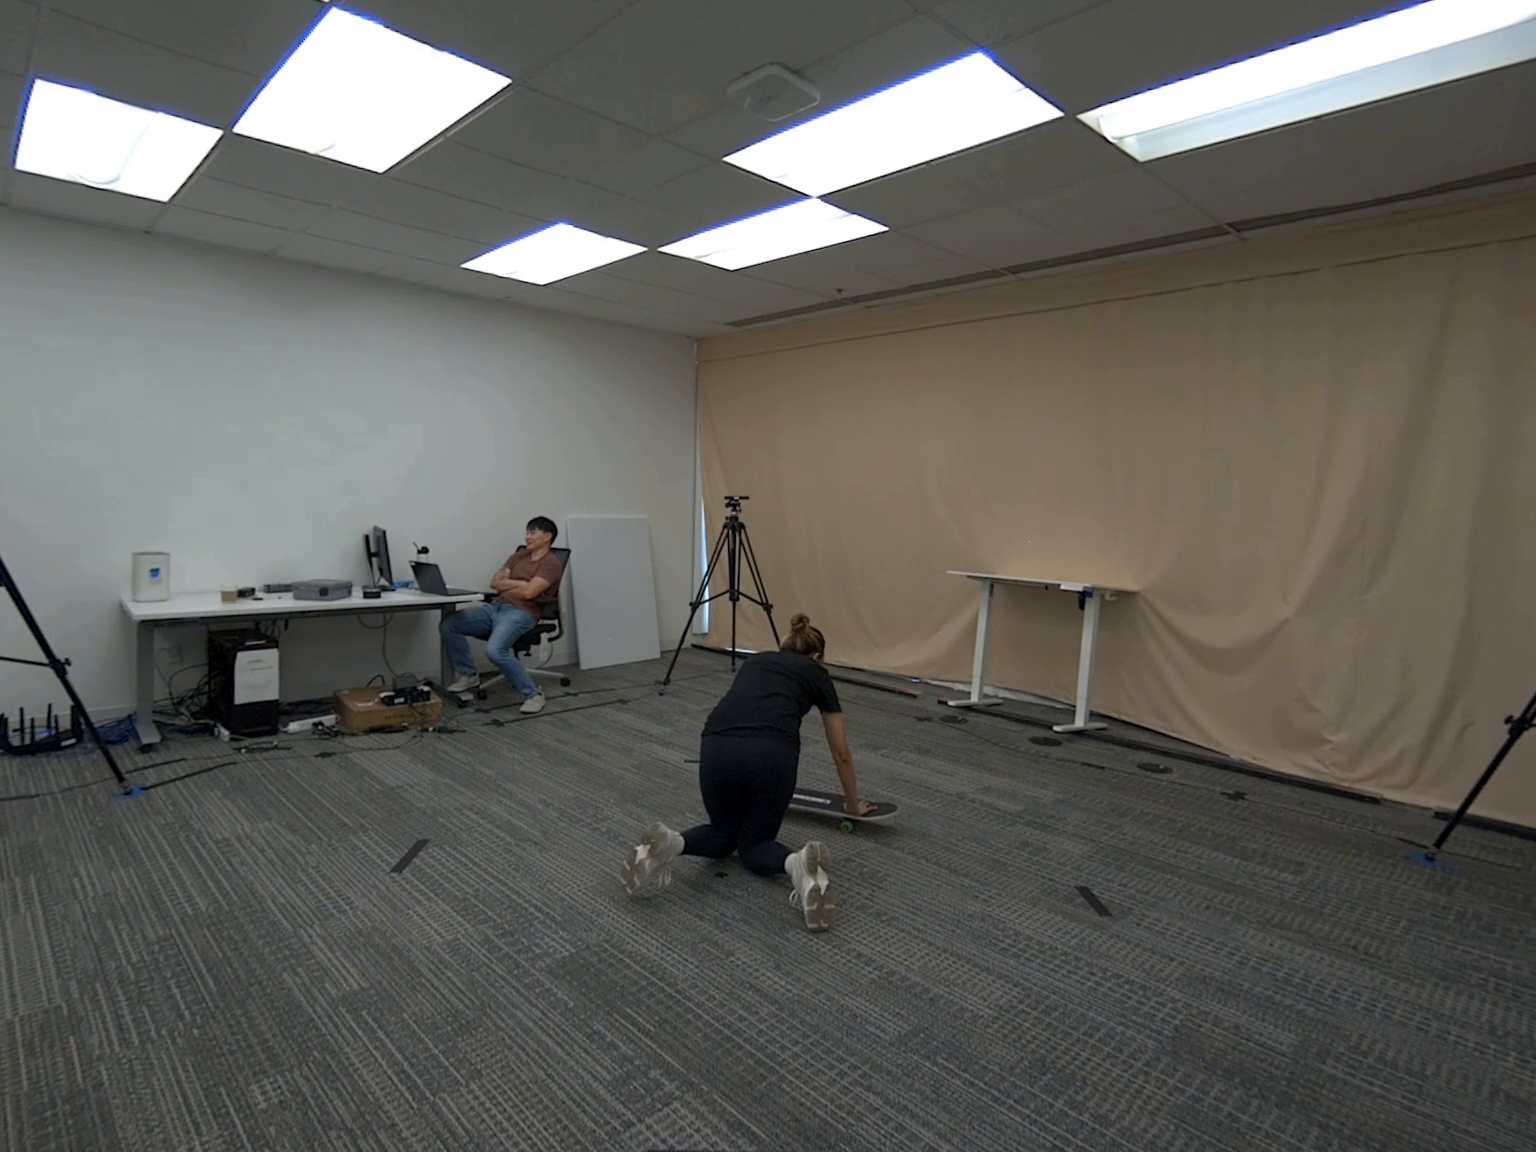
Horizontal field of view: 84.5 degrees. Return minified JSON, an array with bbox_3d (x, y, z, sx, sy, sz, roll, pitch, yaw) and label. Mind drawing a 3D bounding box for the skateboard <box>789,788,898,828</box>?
[{"bbox_3d":[0.168,1.005,3.683,0.800,0.110,0.190,4,7,24],"label":"skateboard"}]
